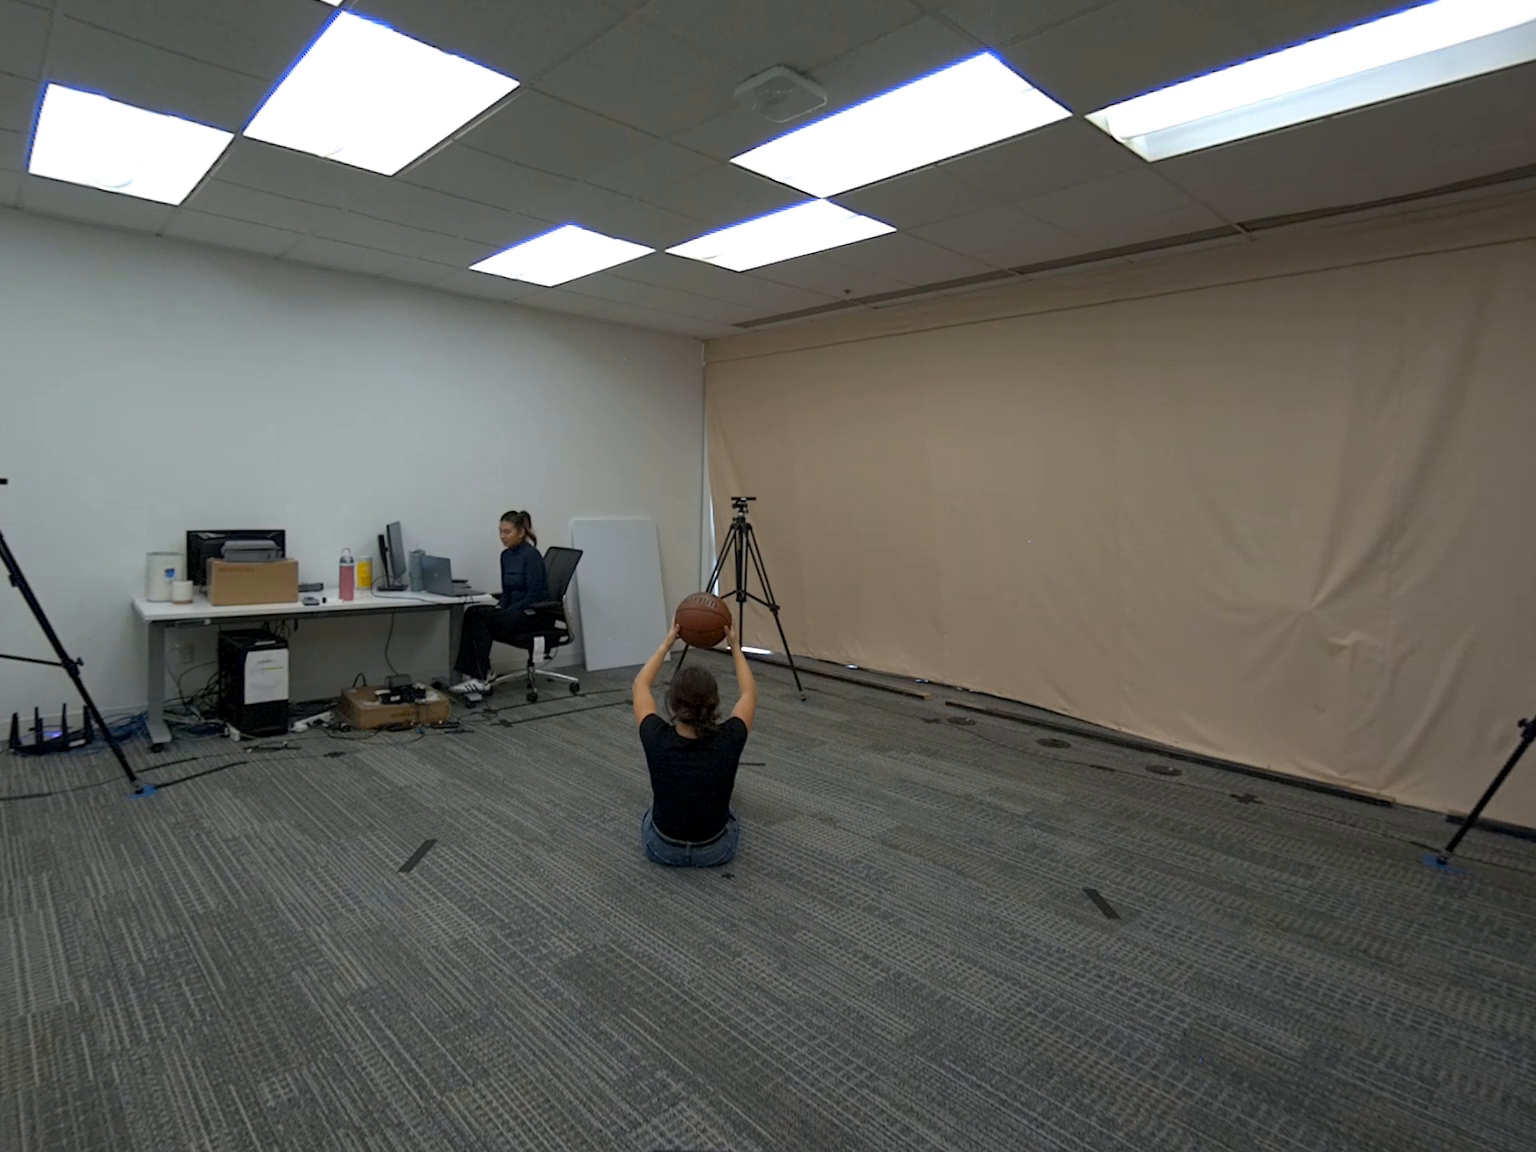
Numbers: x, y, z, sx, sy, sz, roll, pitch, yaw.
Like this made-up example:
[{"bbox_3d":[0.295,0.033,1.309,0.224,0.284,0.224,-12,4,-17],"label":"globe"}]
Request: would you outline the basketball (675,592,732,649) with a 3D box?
[{"bbox_3d":[-0.277,0.193,3.560,0.236,0.235,0.237,1,4,-1],"label":"basketball"}]
